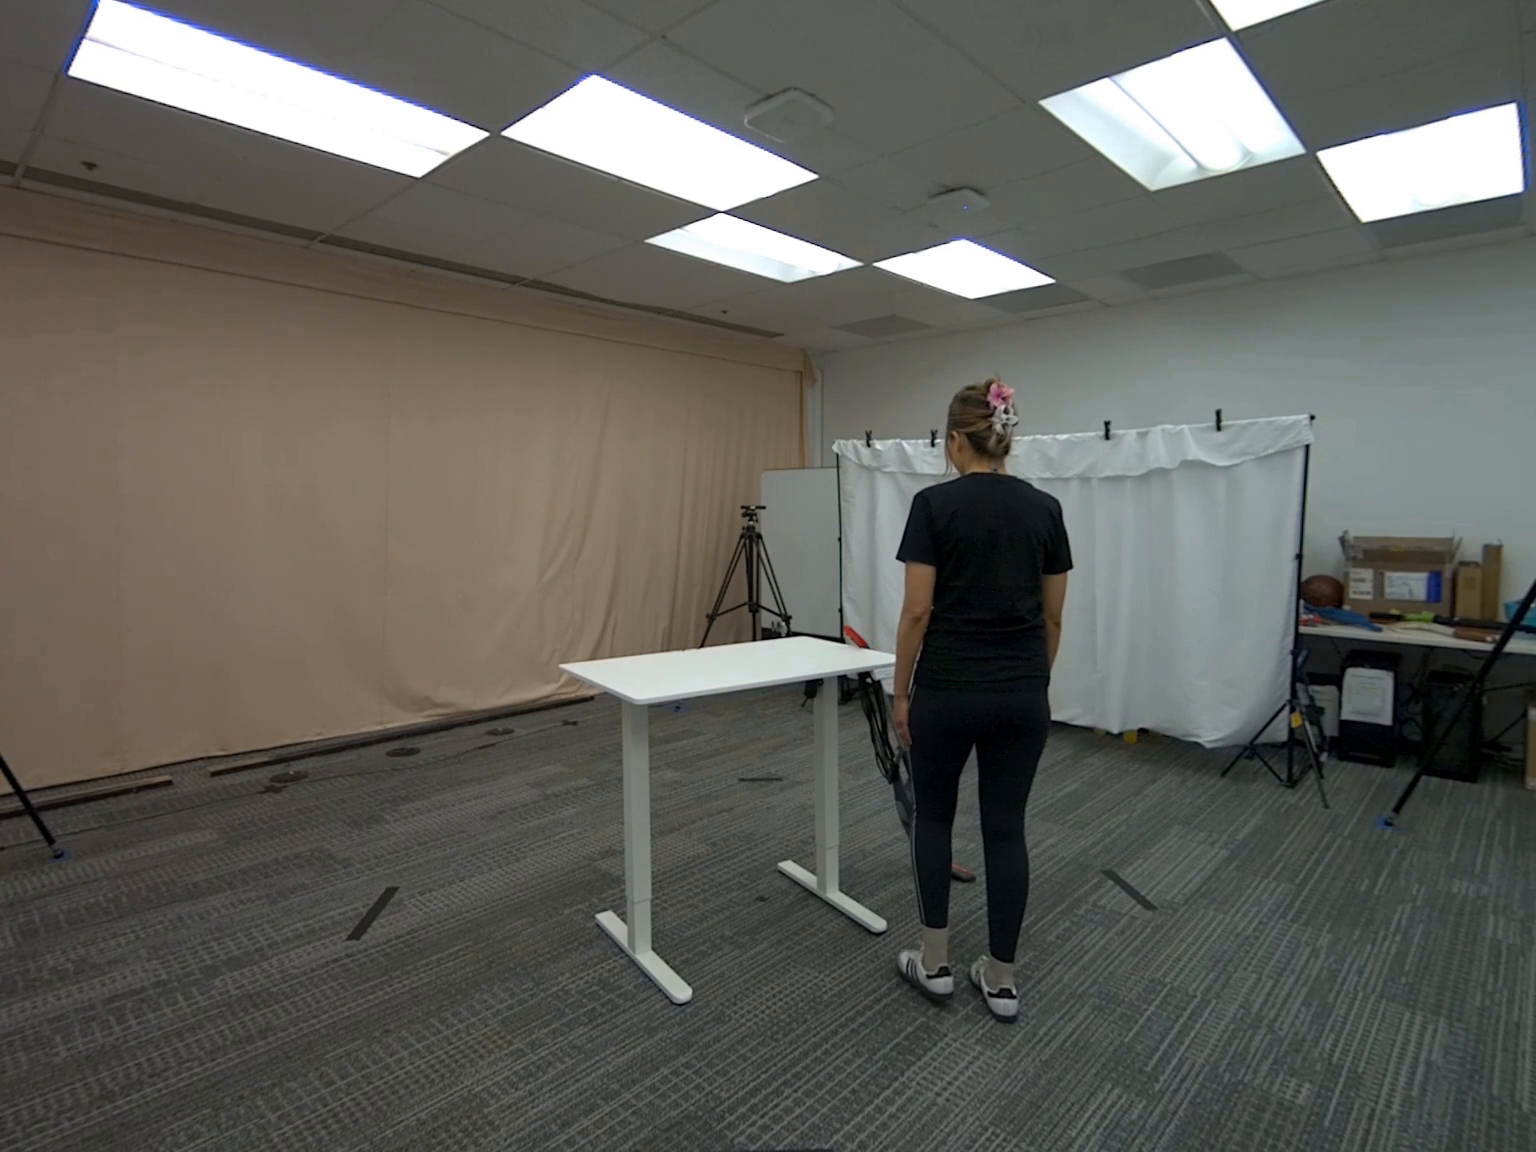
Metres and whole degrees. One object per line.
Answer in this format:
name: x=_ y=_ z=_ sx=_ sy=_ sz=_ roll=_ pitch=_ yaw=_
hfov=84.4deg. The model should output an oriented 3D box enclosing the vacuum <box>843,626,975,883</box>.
vacuum: x=0.470 y=0.664 z=3.067 sx=0.260 sy=1.035 sz=0.141 roll=-4 pitch=21 yaw=47
